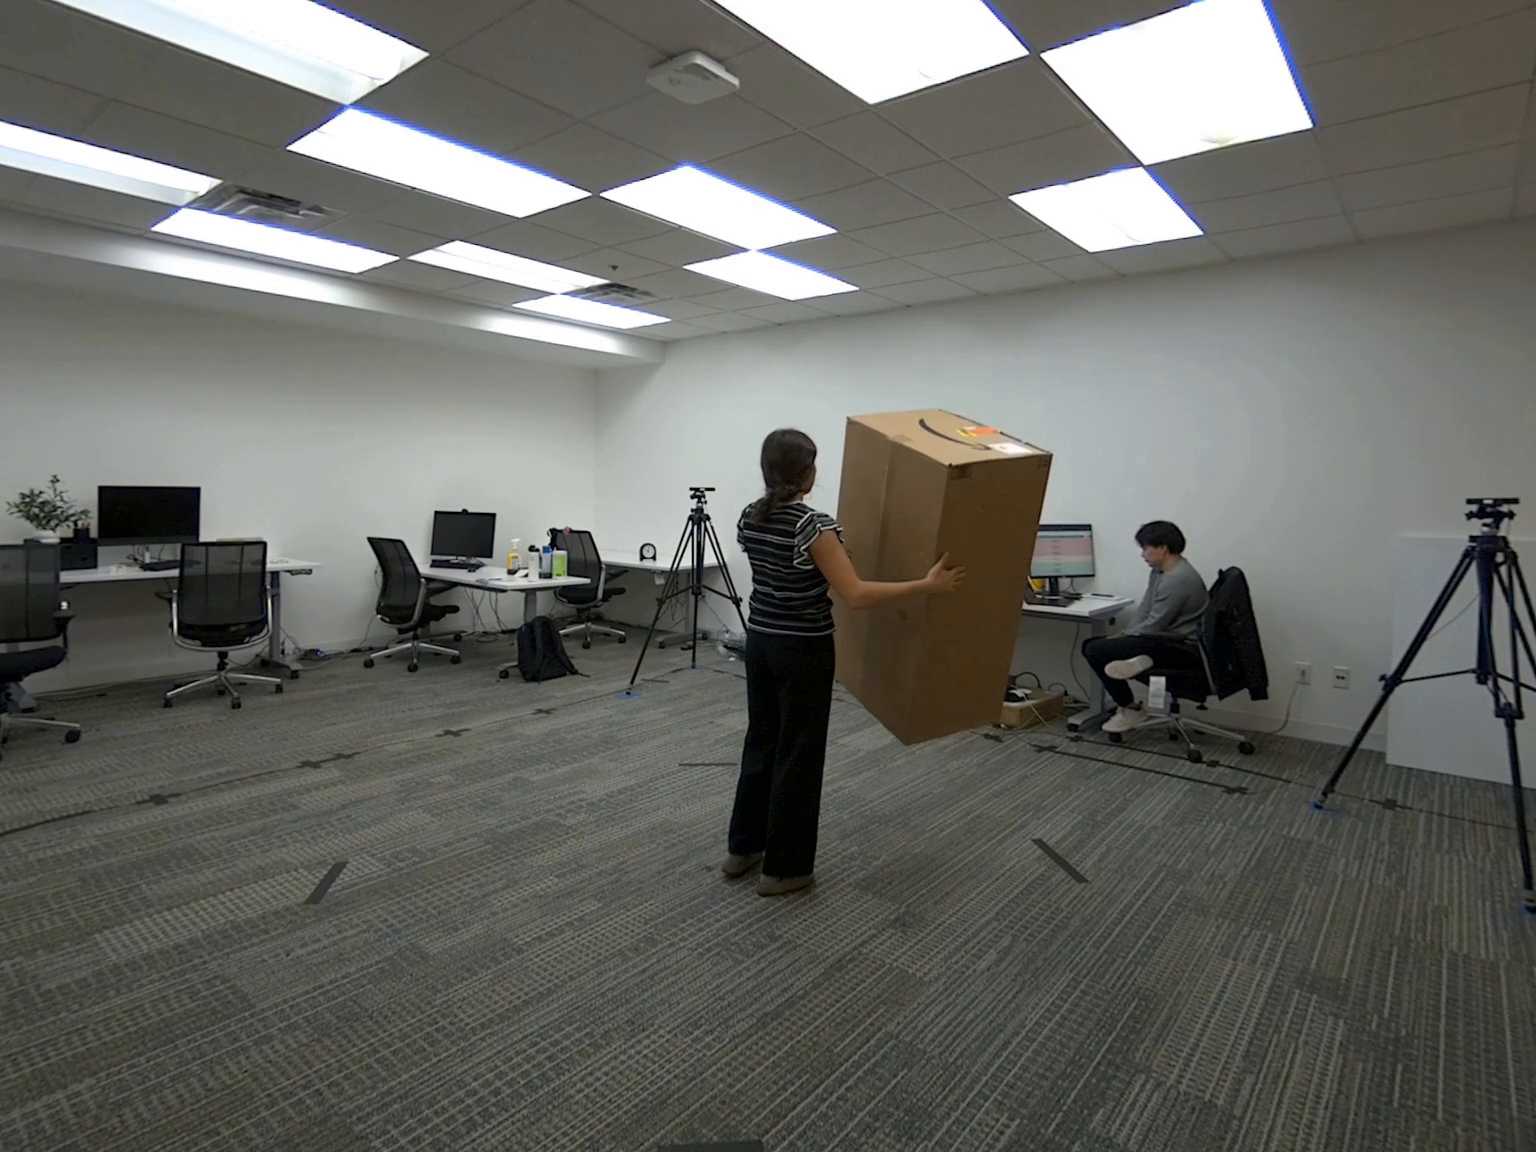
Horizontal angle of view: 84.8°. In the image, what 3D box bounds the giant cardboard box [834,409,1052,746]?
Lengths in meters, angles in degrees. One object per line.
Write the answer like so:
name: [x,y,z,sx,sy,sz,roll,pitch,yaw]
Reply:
giant cardboard box: [0.551,-0.018,3.064,0.417,1.007,0.601,-7,25,-26]
